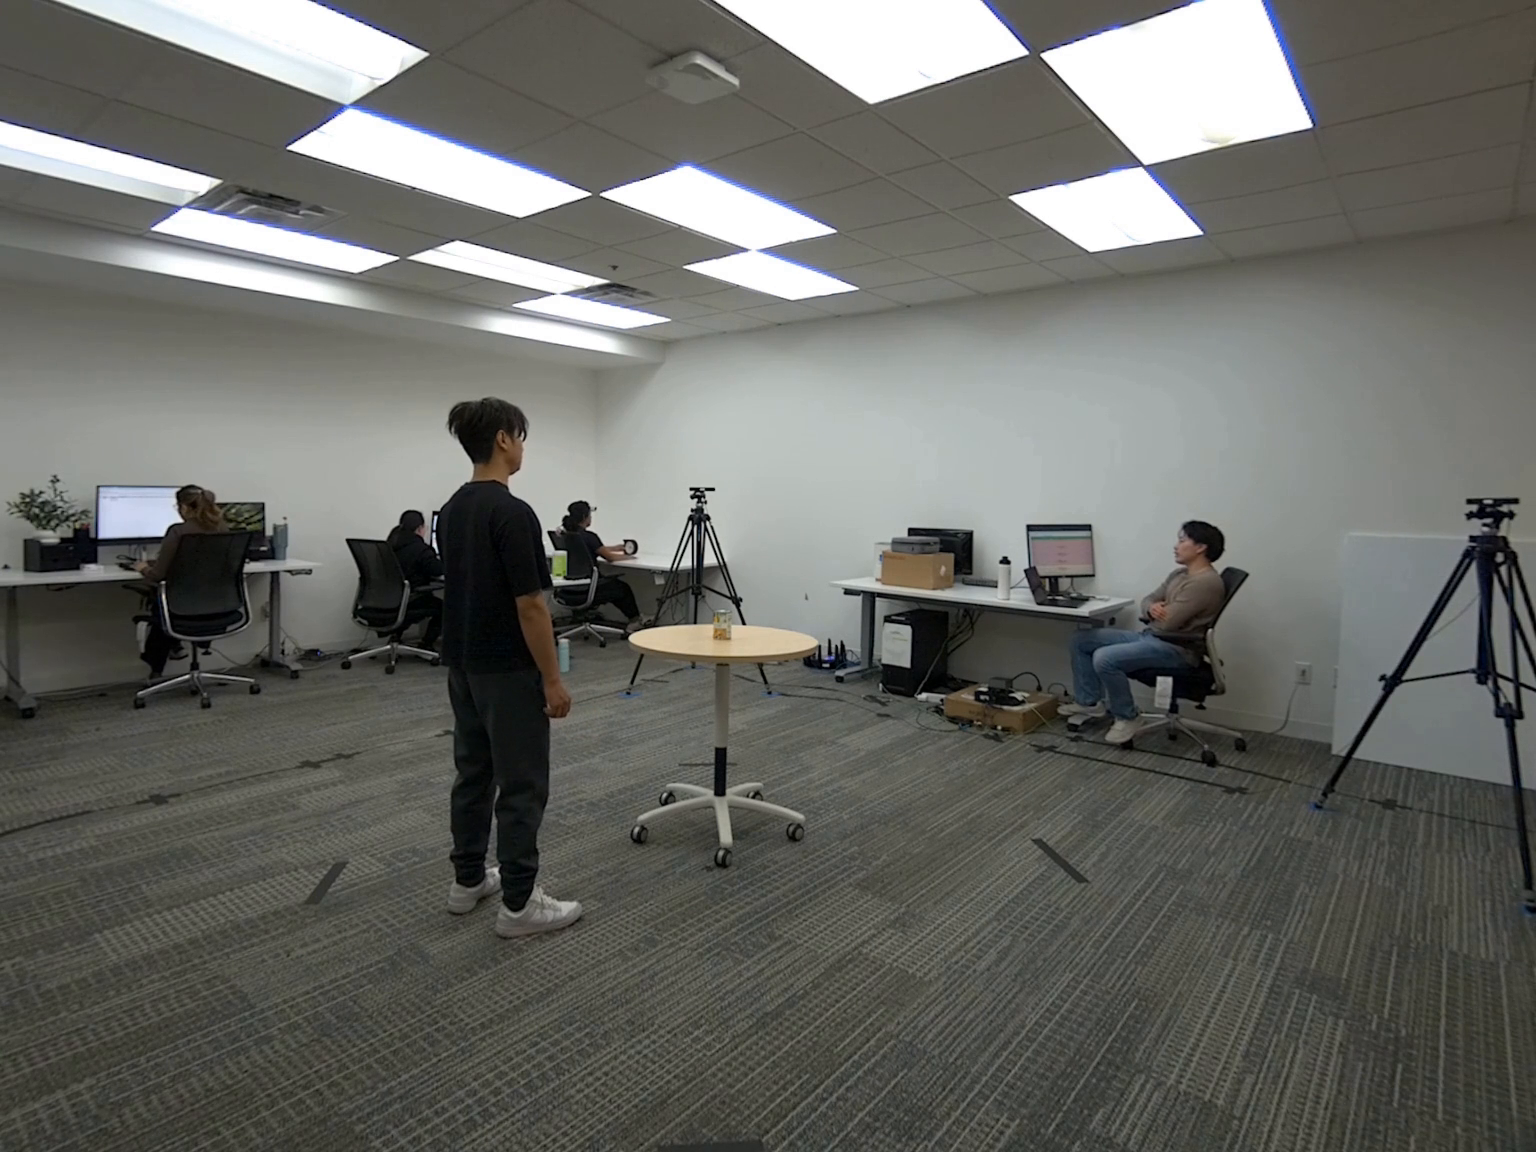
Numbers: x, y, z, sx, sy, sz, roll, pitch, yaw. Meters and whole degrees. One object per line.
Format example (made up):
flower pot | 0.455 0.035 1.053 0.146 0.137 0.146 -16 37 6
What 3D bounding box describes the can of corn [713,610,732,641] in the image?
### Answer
can of corn | -0.197 0.195 3.452 0.074 0.111 0.074 2 2 -2
